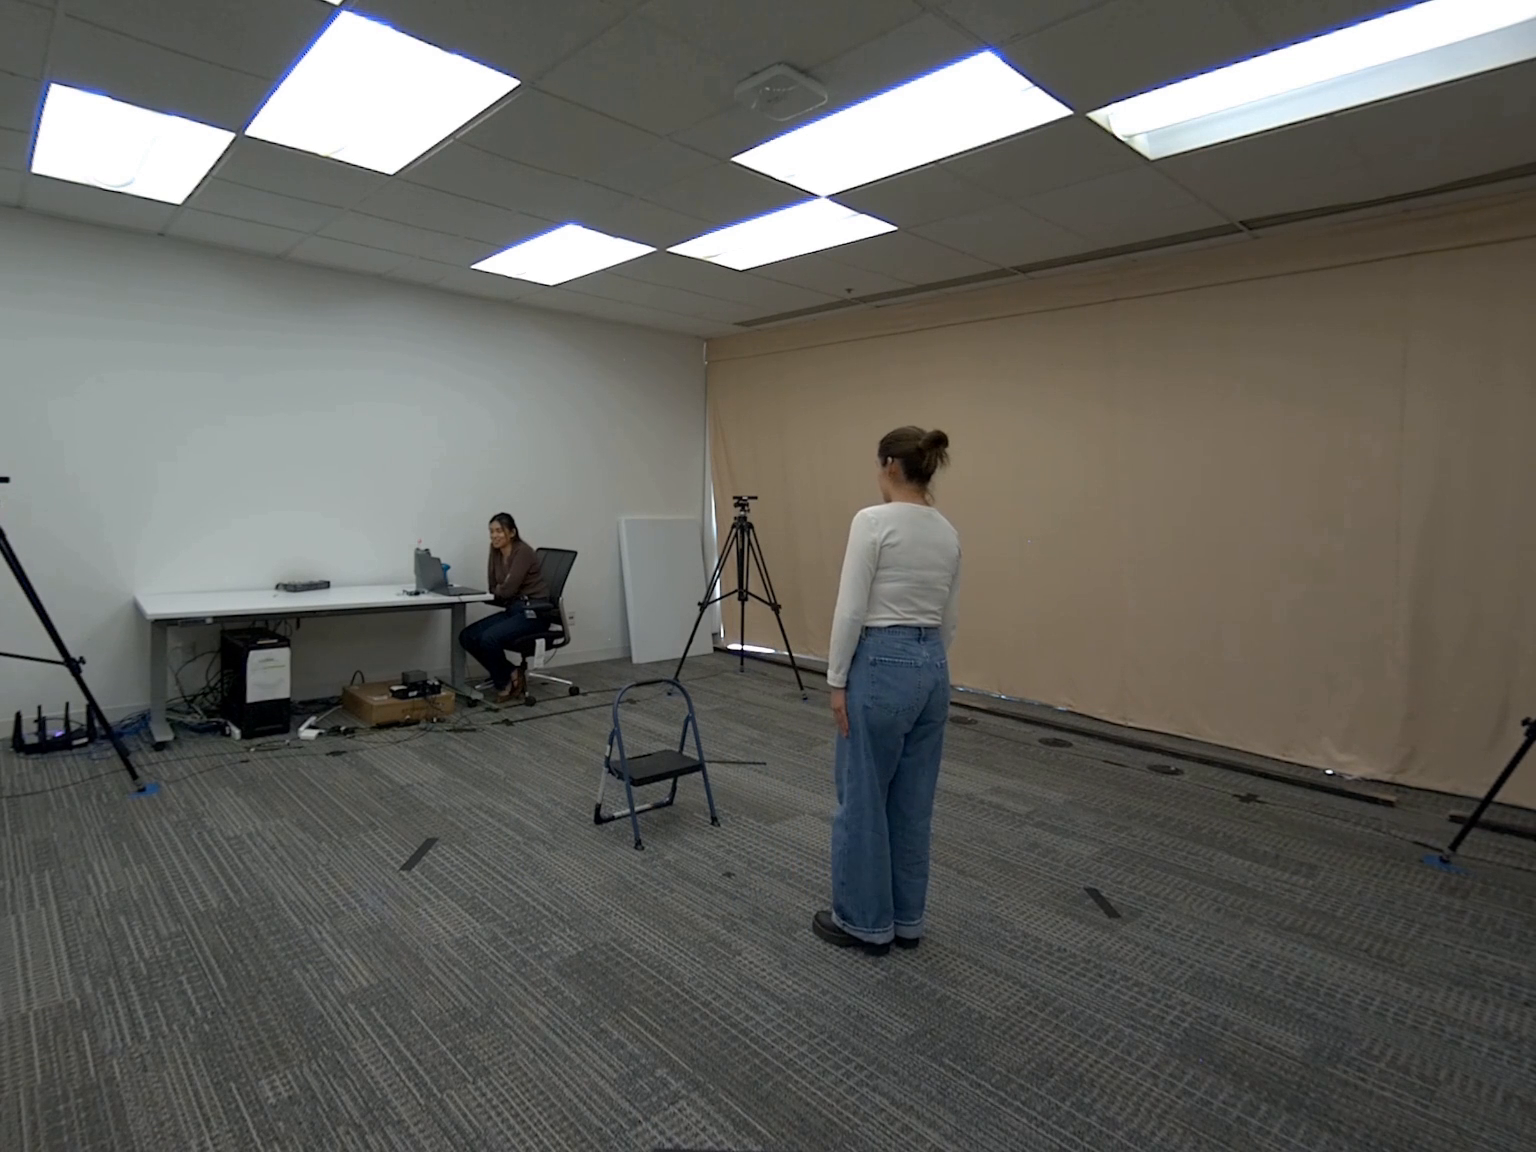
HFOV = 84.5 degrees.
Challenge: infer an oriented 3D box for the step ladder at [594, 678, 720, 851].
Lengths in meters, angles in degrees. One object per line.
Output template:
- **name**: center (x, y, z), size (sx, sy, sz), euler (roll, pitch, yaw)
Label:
- **step ladder**: center (-0.472, 0.753, 3.553), size (0.421, 0.605, 0.358), euler (-2, 4, -44)
